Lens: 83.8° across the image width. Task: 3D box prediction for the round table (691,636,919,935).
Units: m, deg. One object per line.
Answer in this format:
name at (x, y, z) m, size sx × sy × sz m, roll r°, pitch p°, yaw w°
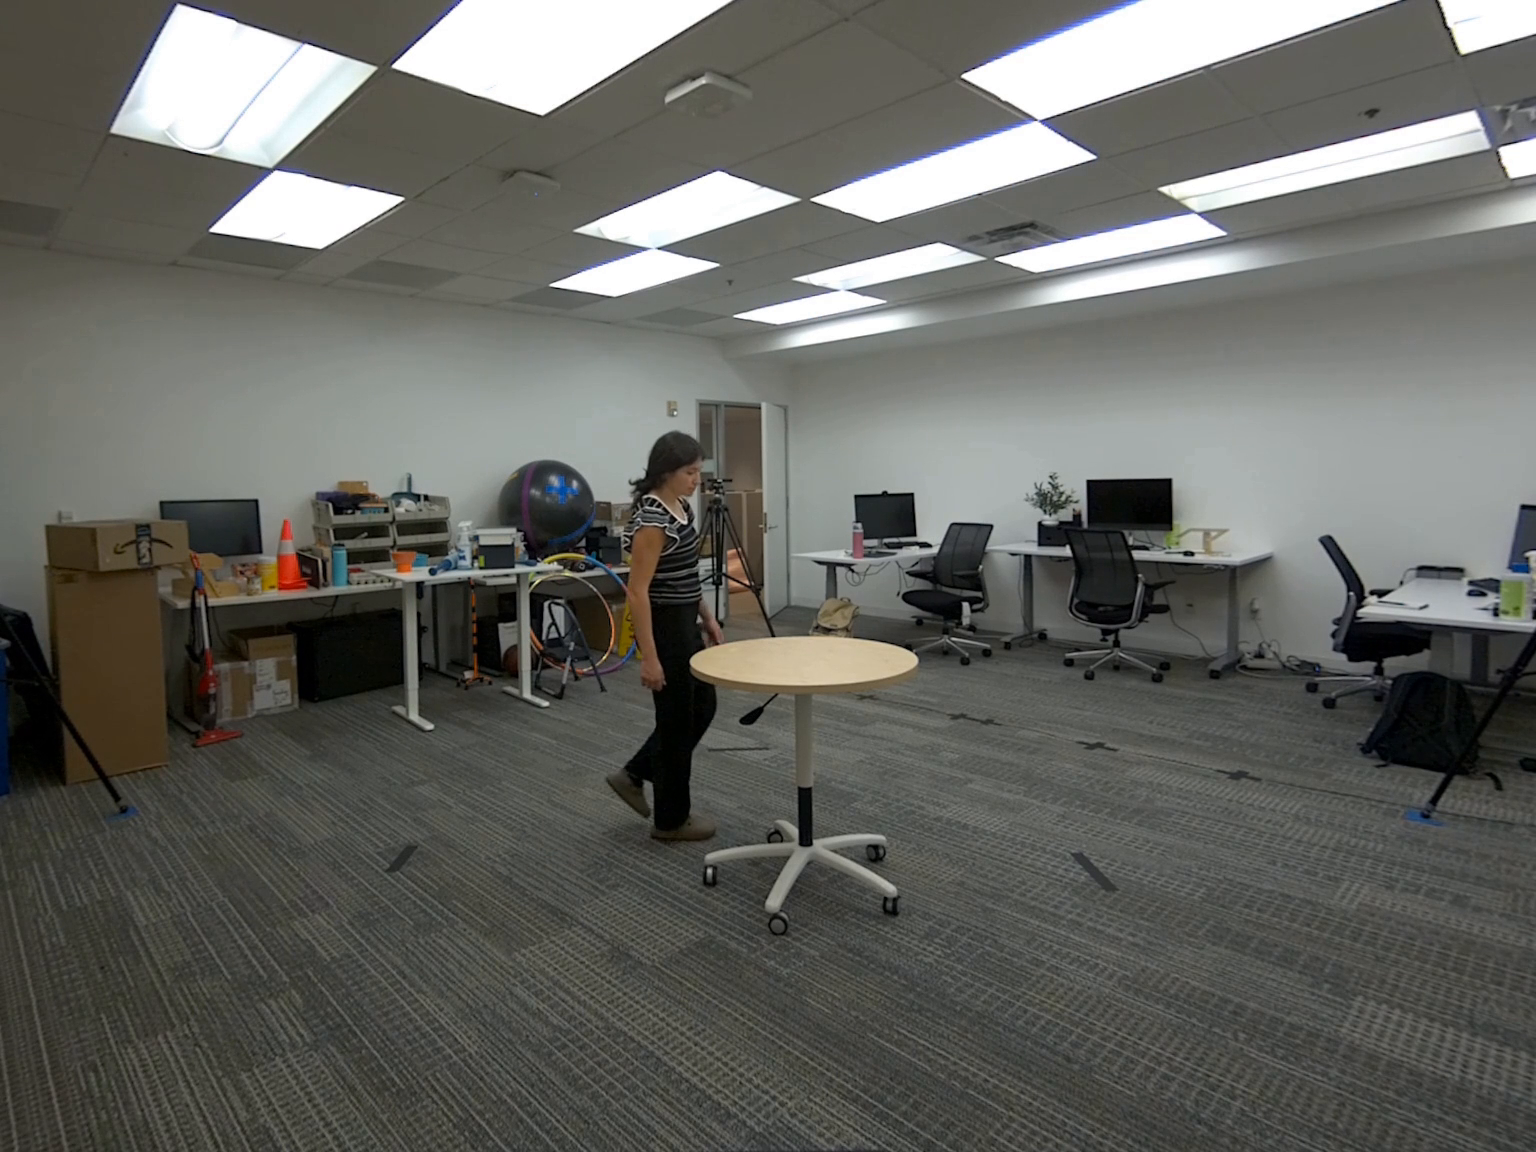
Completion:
round table at (0.128, 0.667, 2.927) m, size 0.784 × 0.783 × 0.790 m, roll -1°, pitch 6°, yaw -2°
